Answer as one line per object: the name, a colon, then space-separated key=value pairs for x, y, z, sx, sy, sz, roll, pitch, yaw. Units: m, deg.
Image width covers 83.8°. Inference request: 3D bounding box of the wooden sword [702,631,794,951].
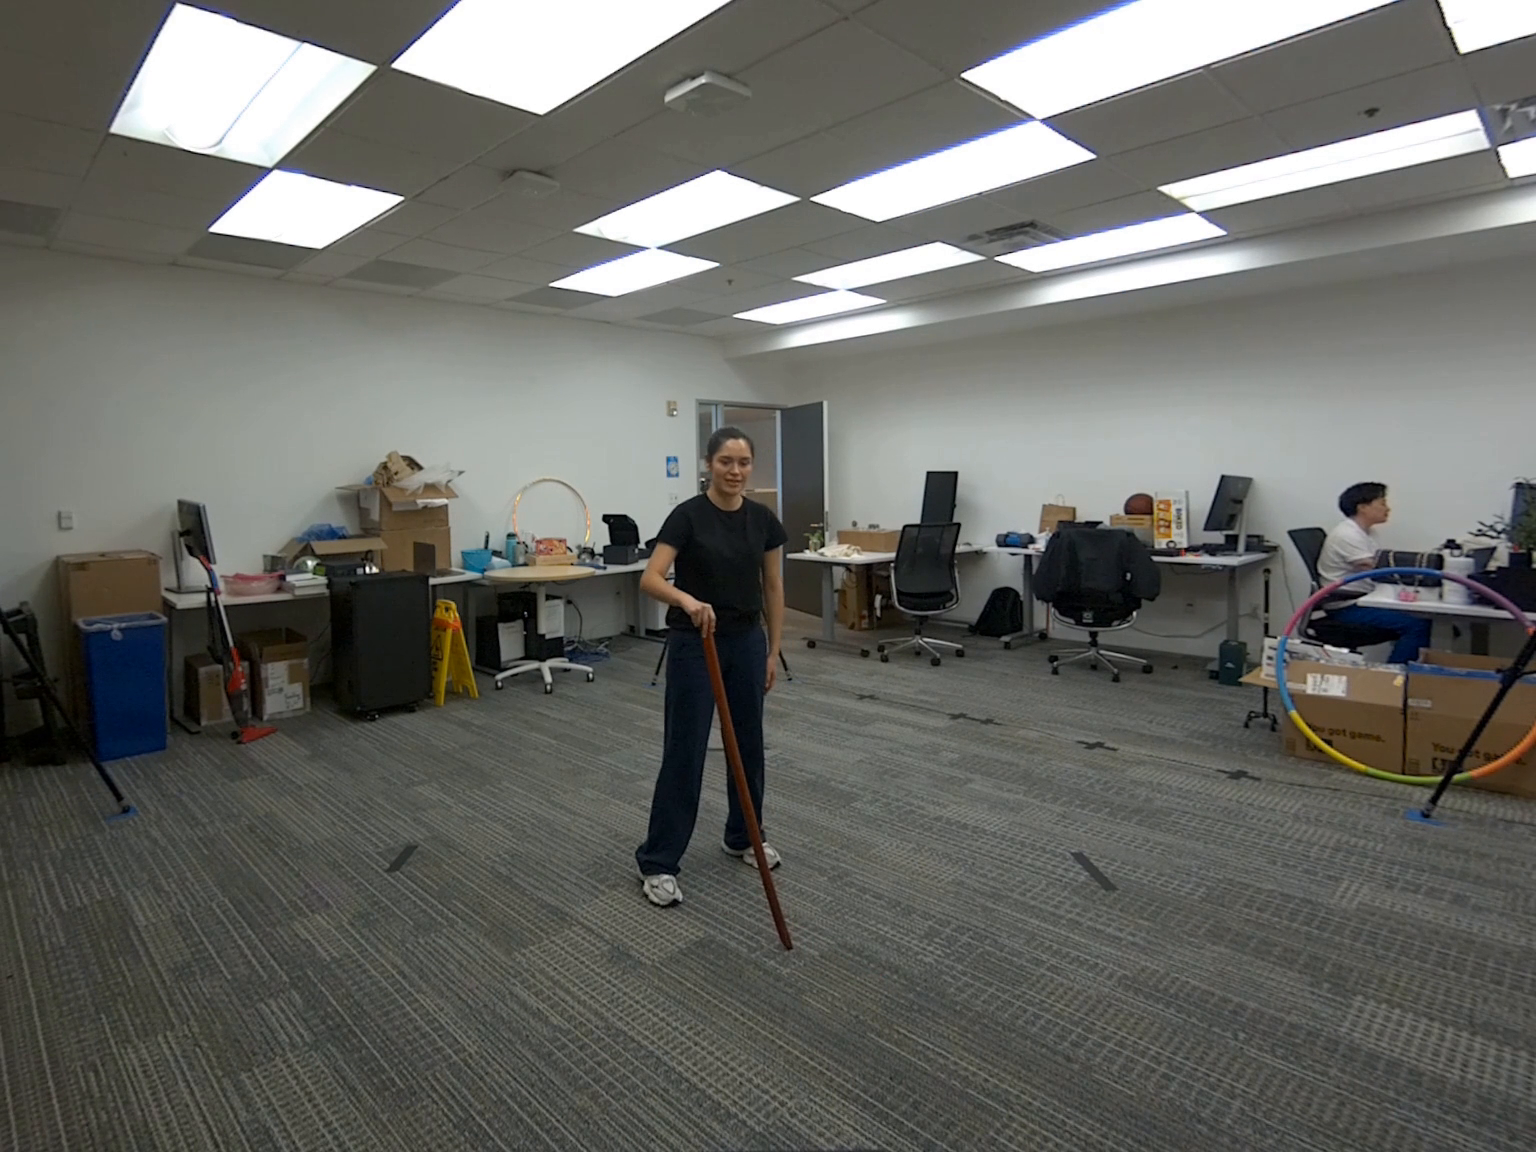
wooden sword: x=-0.081 y=0.611 z=2.606 sx=0.024 sy=1.030 sz=0.051 roll=-14 pitch=-4 yaw=-7
